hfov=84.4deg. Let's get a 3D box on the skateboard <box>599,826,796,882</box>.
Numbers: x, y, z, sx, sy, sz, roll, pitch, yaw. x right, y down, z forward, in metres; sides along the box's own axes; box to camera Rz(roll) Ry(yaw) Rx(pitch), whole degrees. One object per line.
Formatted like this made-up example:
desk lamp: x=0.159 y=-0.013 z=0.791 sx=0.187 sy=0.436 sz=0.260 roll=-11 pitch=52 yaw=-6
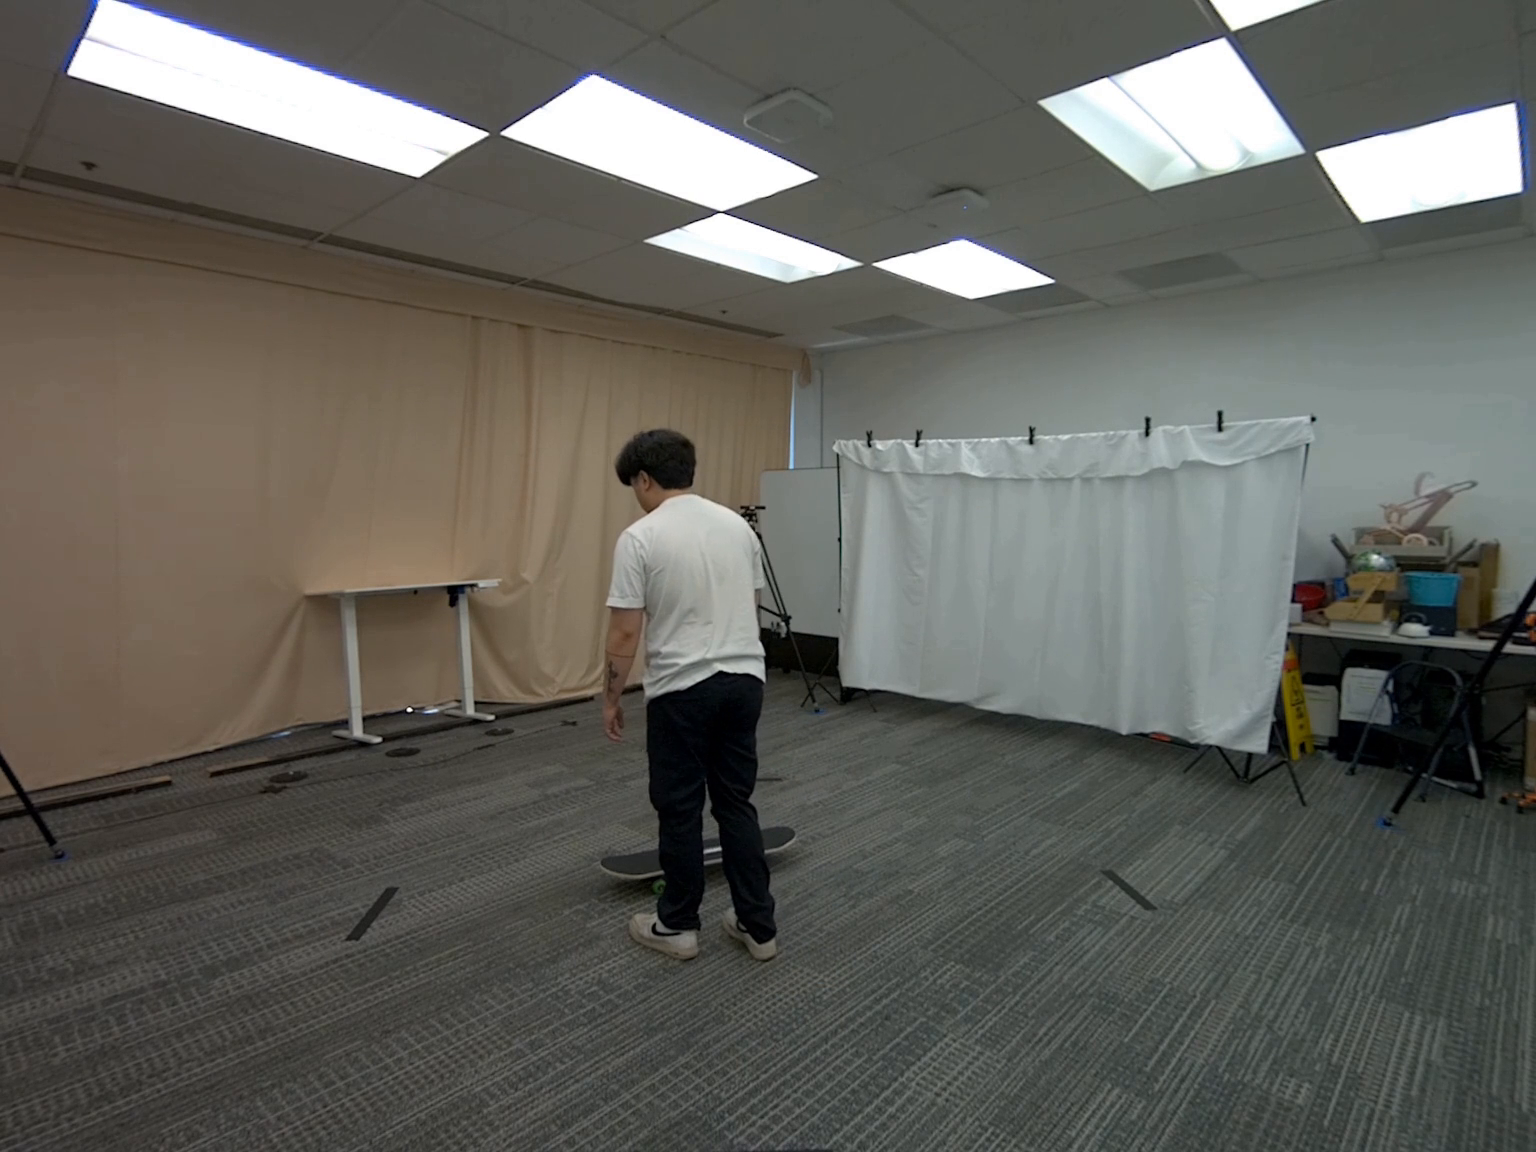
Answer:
skateboard: x=-0.250 y=1.073 z=3.173 sx=0.767 sy=0.110 sz=0.198 roll=-3 pitch=4 yaw=-24
